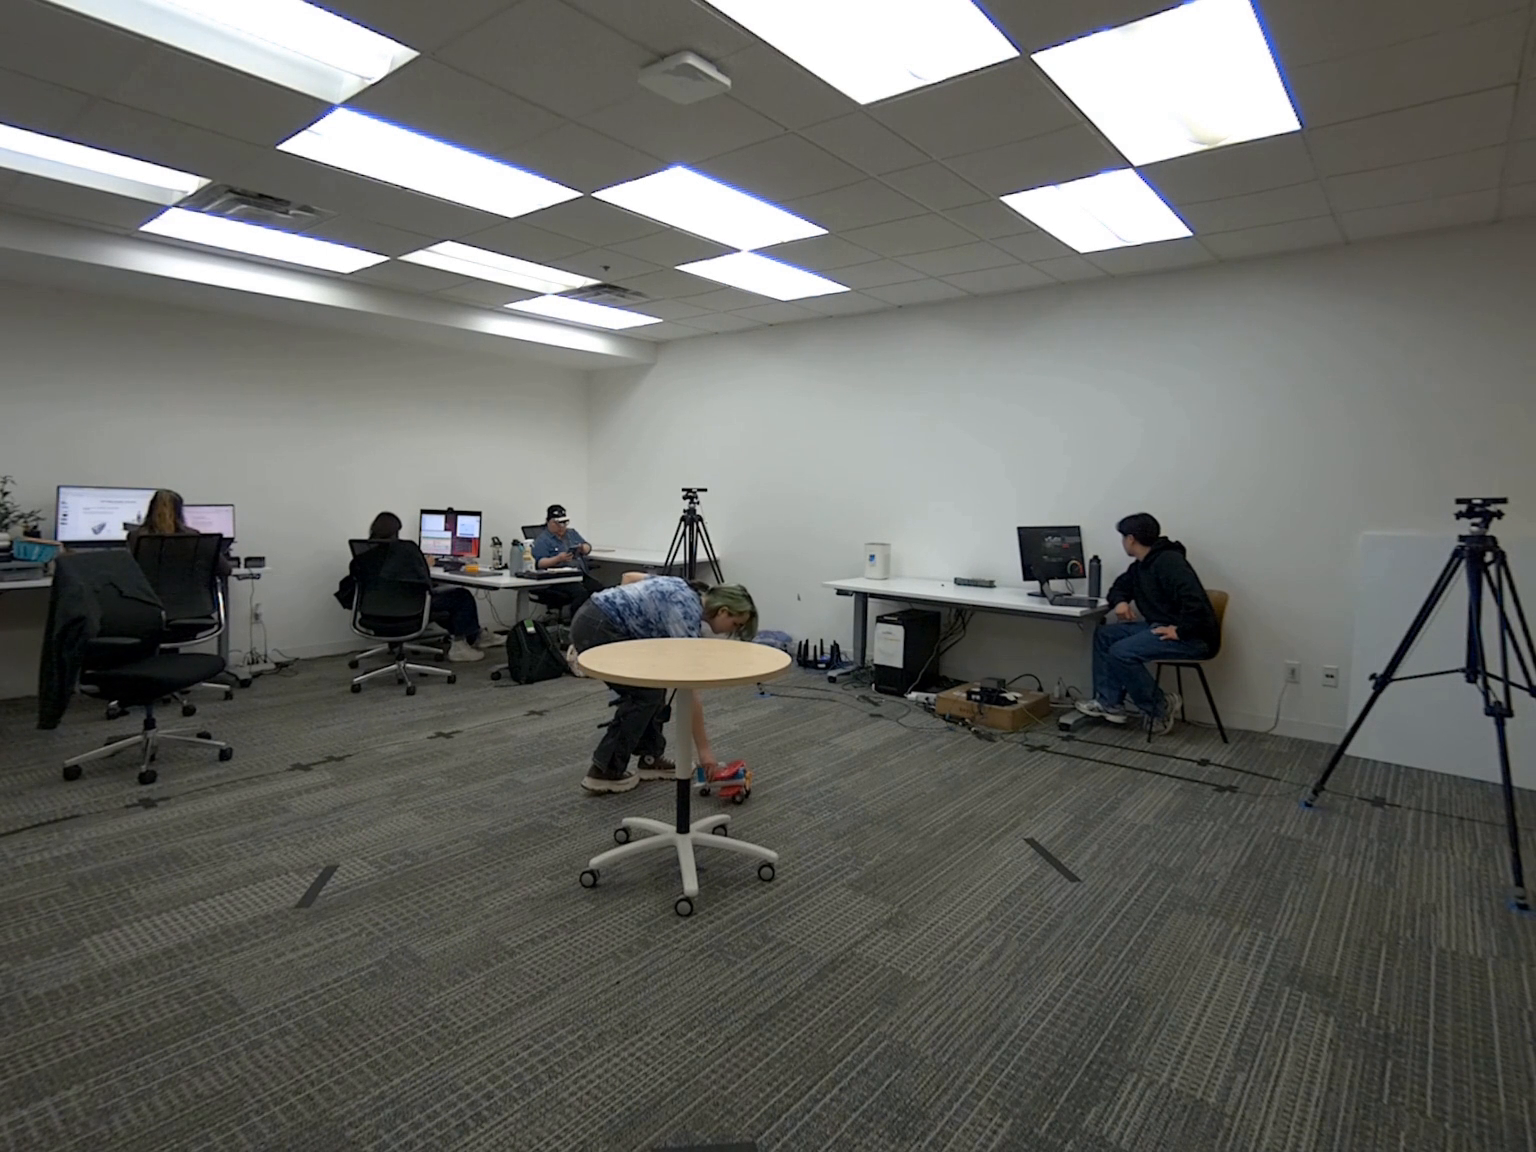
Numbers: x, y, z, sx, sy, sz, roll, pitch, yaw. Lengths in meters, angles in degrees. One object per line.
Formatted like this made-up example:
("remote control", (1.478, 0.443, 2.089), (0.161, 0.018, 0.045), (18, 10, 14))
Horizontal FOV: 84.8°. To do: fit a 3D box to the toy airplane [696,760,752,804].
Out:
("toy airplane", (-0.212, 0.928, 3.825), (0.256, 0.156, 0.254), (1, 3, -10))
